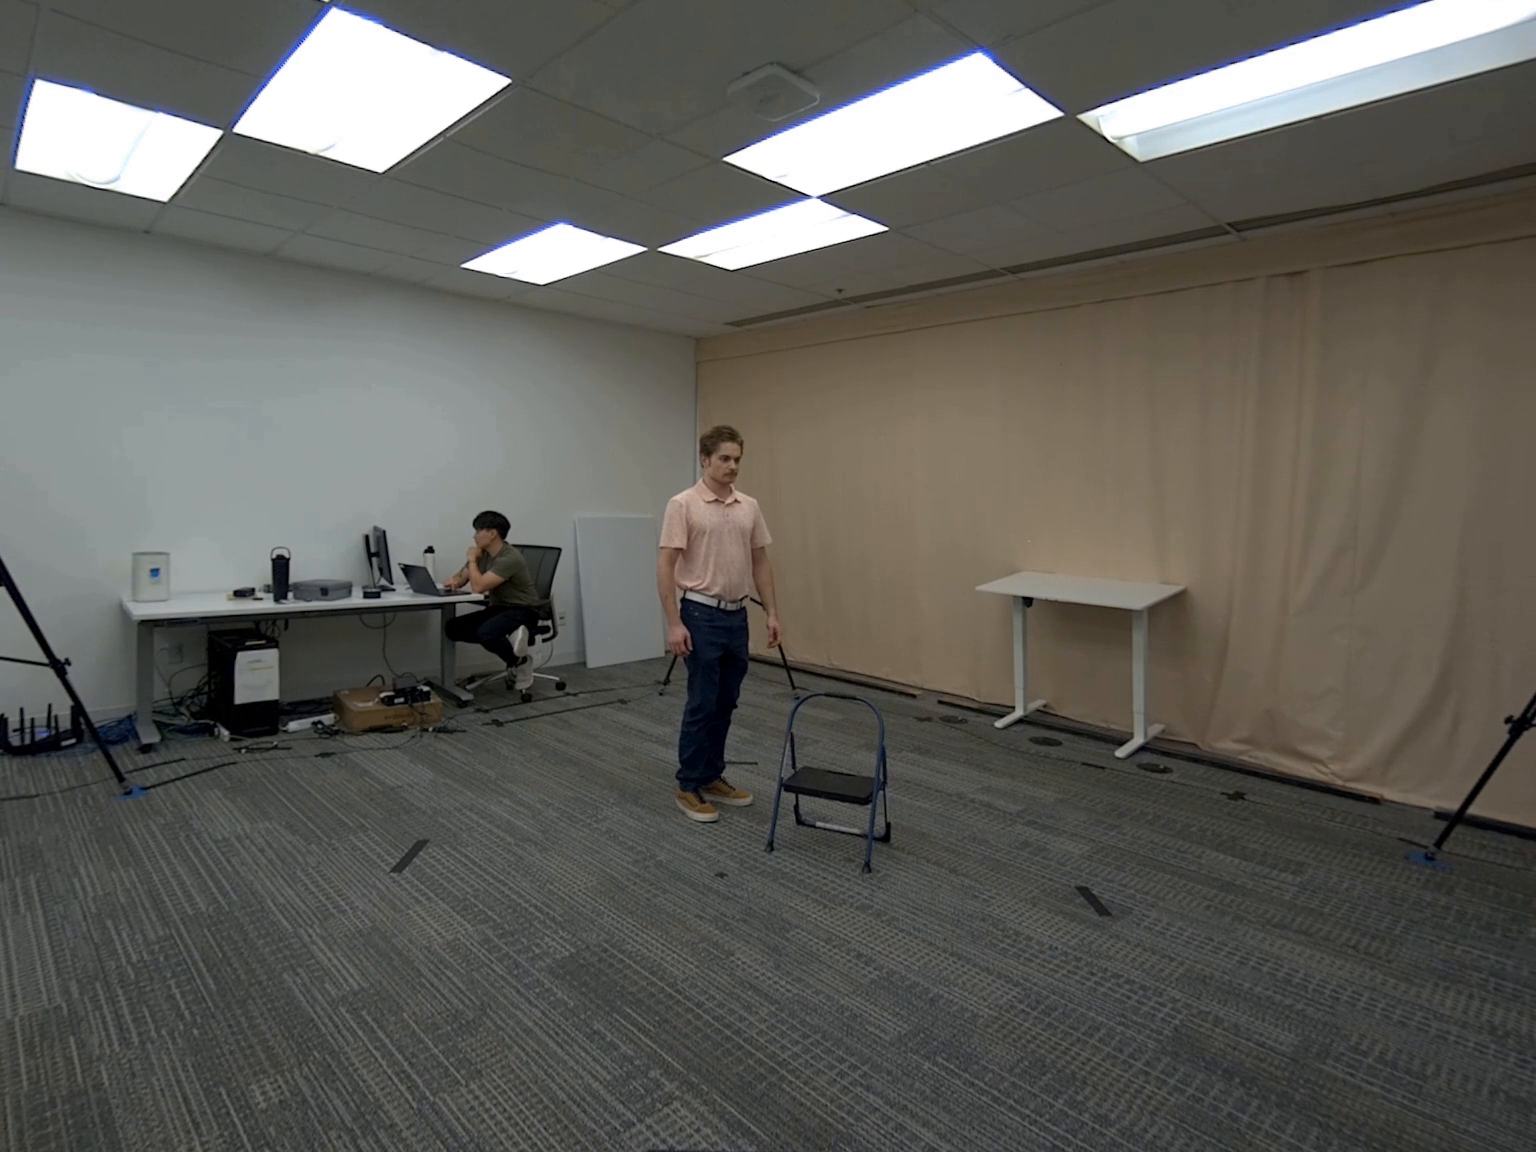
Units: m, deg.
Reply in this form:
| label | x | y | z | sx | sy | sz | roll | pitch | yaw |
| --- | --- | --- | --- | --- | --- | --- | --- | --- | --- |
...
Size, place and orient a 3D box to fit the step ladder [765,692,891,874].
| label | x | y | z | sx | sy | sz | roll | pitch | yaw |
| --- | --- | --- | --- | --- | --- | --- | --- | --- | --- |
| step ladder | 0.253 | 0.787 | 3.376 | 0.439 | 0.604 | 0.343 | 3 | 4 | 24 |
